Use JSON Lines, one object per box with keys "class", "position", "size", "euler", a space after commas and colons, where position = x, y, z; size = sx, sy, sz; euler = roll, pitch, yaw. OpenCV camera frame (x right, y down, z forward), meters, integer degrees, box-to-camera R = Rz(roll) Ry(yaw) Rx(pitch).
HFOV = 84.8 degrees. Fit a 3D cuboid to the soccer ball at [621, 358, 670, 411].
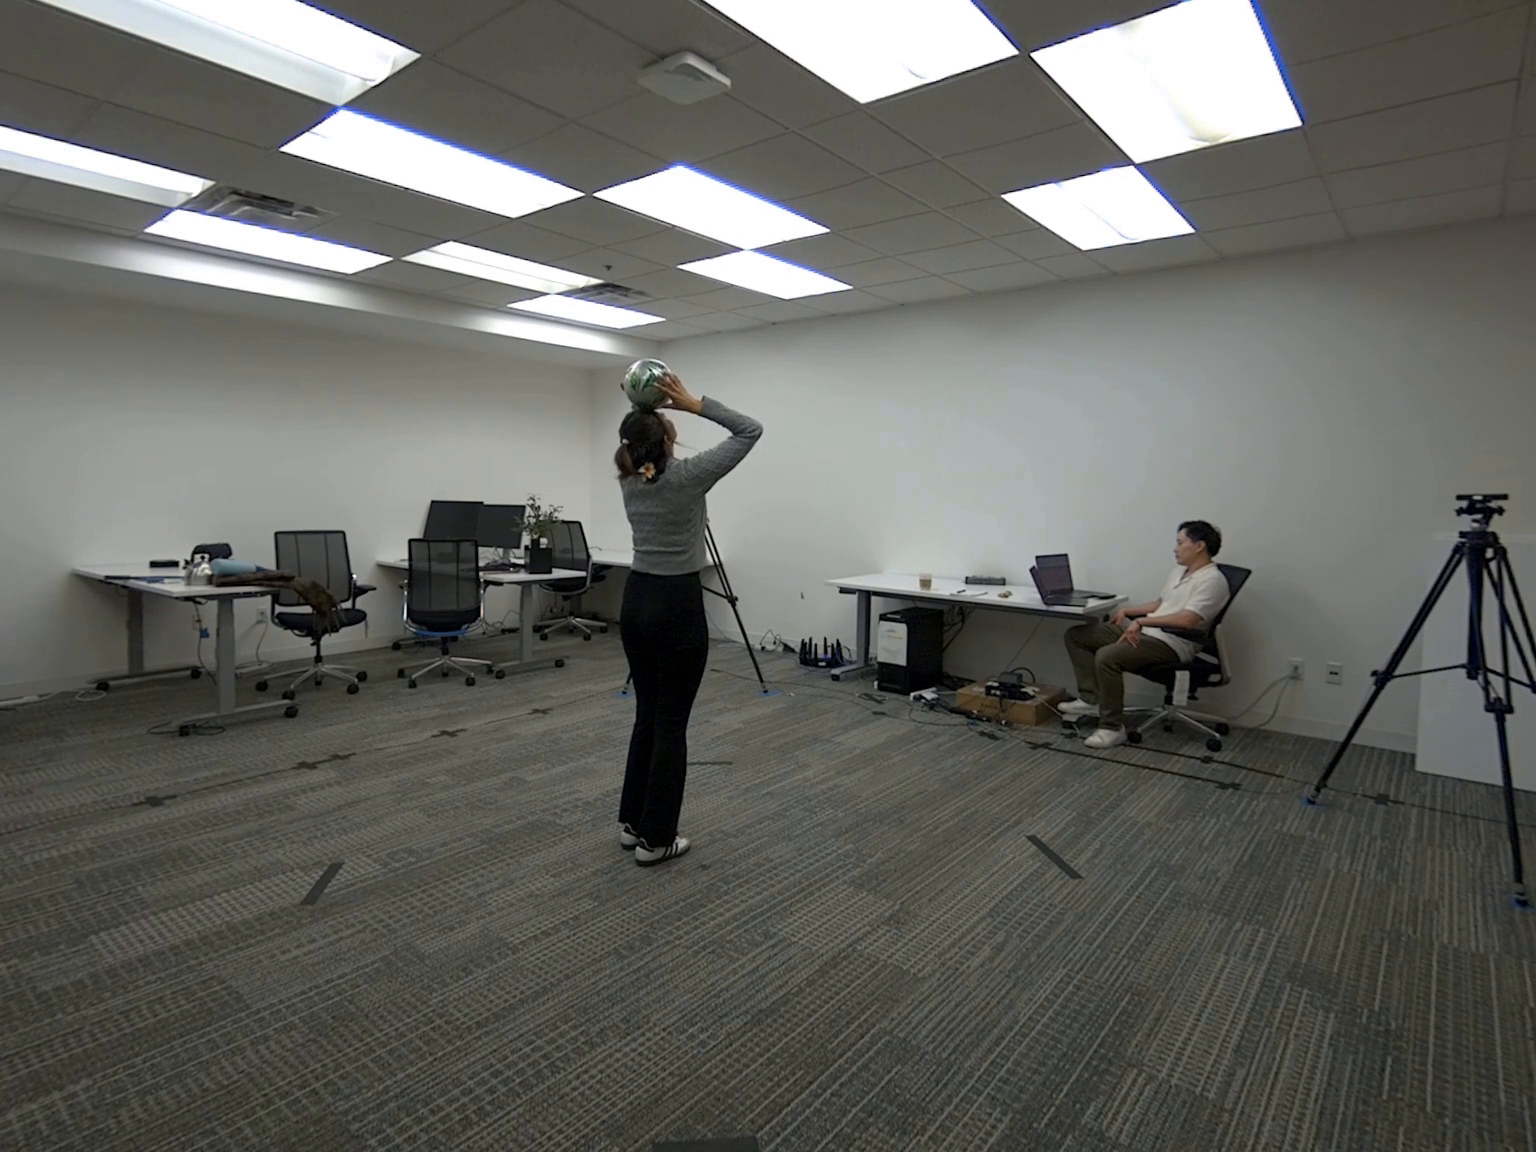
{"class": "soccer ball", "position": [-0.447, -0.706, 3.130], "size": [0.187, 0.187, 0.188], "euler": [1, 4, -2]}
